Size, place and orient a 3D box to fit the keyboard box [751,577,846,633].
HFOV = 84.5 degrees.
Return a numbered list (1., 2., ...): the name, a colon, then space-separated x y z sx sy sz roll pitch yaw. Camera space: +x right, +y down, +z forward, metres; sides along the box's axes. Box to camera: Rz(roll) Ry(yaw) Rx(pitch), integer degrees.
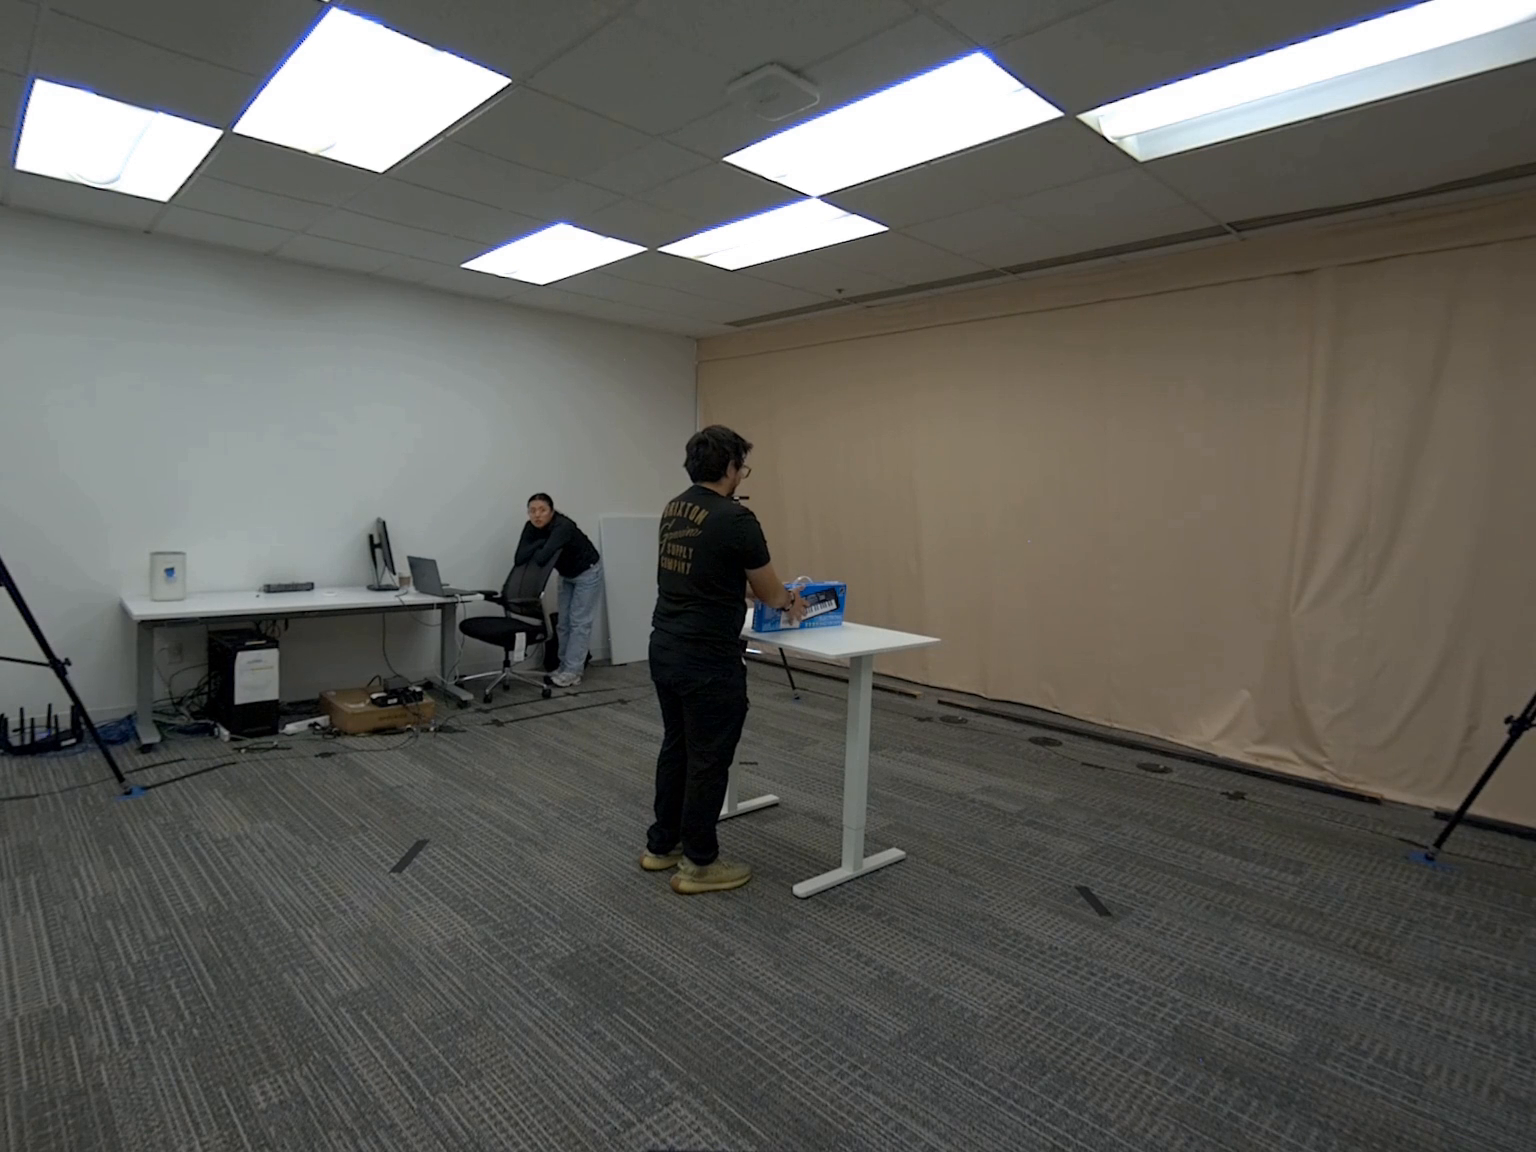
1. keyboard box: 0.124 0.122 3.330 0.427 0.175 0.061 -2 11 -39
